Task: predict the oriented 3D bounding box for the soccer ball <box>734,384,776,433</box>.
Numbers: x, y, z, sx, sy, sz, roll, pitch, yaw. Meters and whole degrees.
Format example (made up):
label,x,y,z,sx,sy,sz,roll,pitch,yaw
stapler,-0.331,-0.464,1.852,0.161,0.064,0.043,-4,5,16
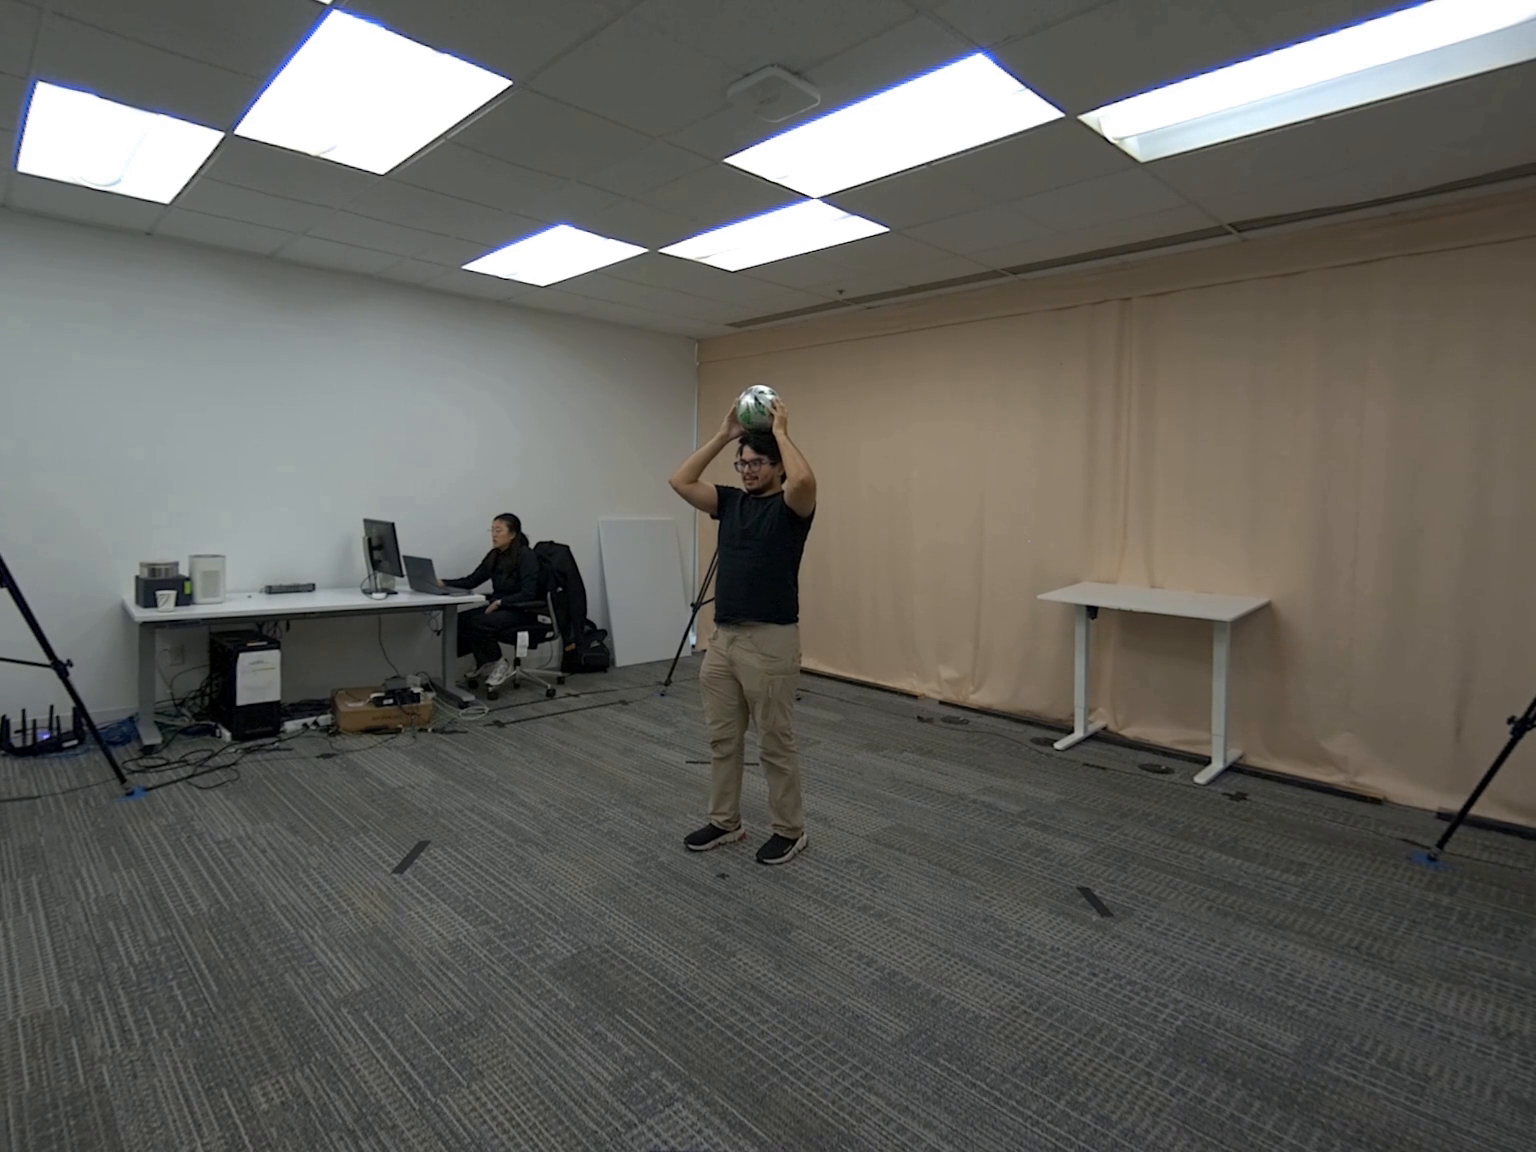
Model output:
label,x,y,z,sx,sy,sz,roll,pitch,yaw
soccer ball,-0.037,-0.640,3.261,0.187,0.187,0.188,1,4,-1
